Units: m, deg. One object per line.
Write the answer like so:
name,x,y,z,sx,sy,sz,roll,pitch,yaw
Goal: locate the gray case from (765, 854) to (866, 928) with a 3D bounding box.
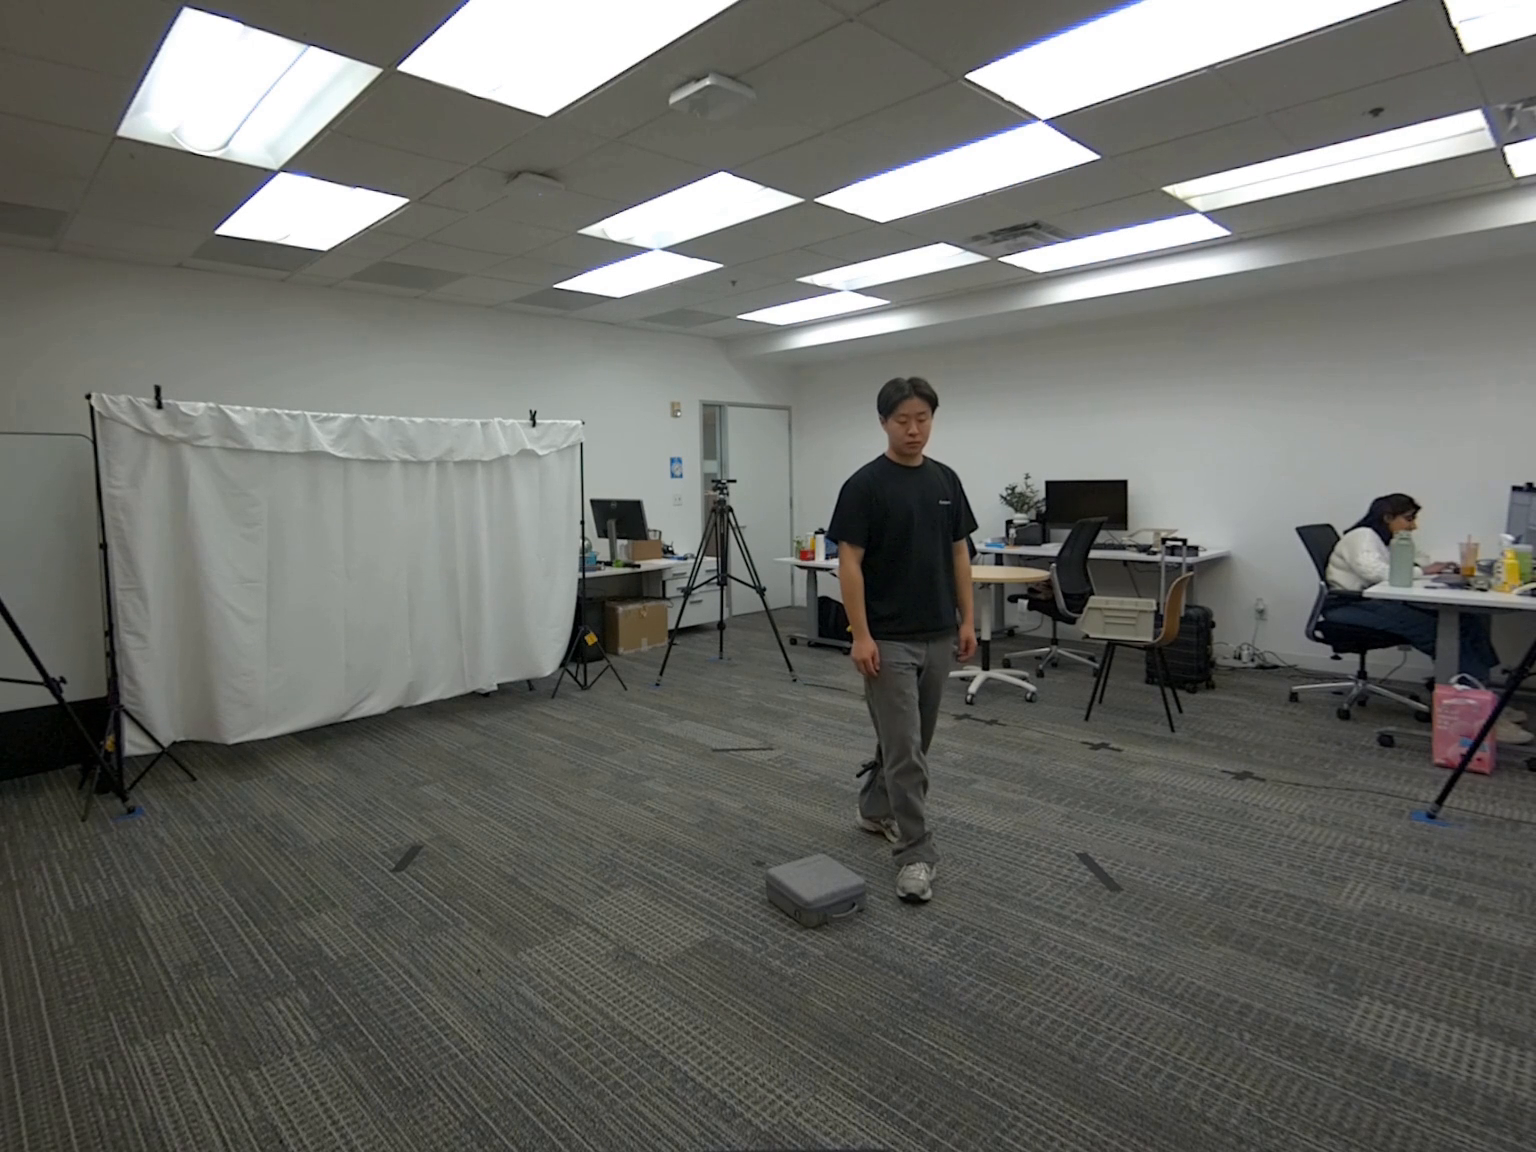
gray case,0.169,1.027,2.787,0.257,0.102,0.295,-4,7,-32
